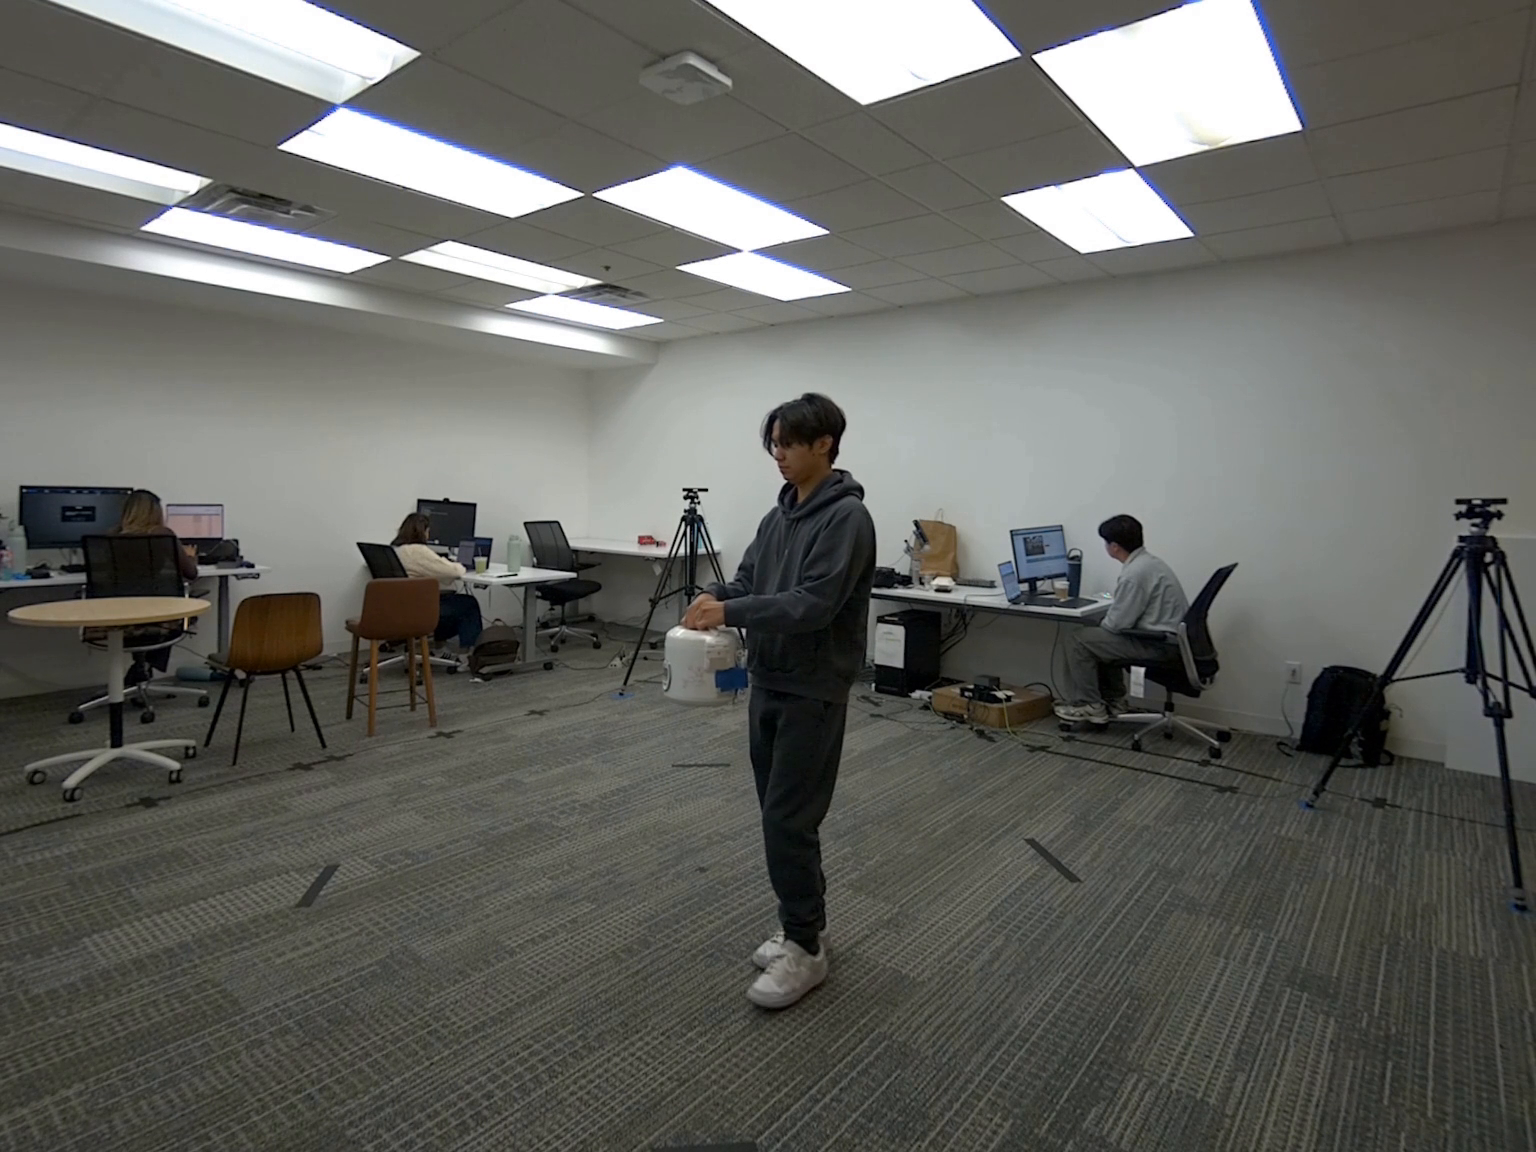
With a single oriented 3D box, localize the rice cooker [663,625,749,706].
[{"bbox_3d":[-0.193,0.237,2.362,0.212,0.233,0.226,2,0,-24],"label":"rice cooker"}]
